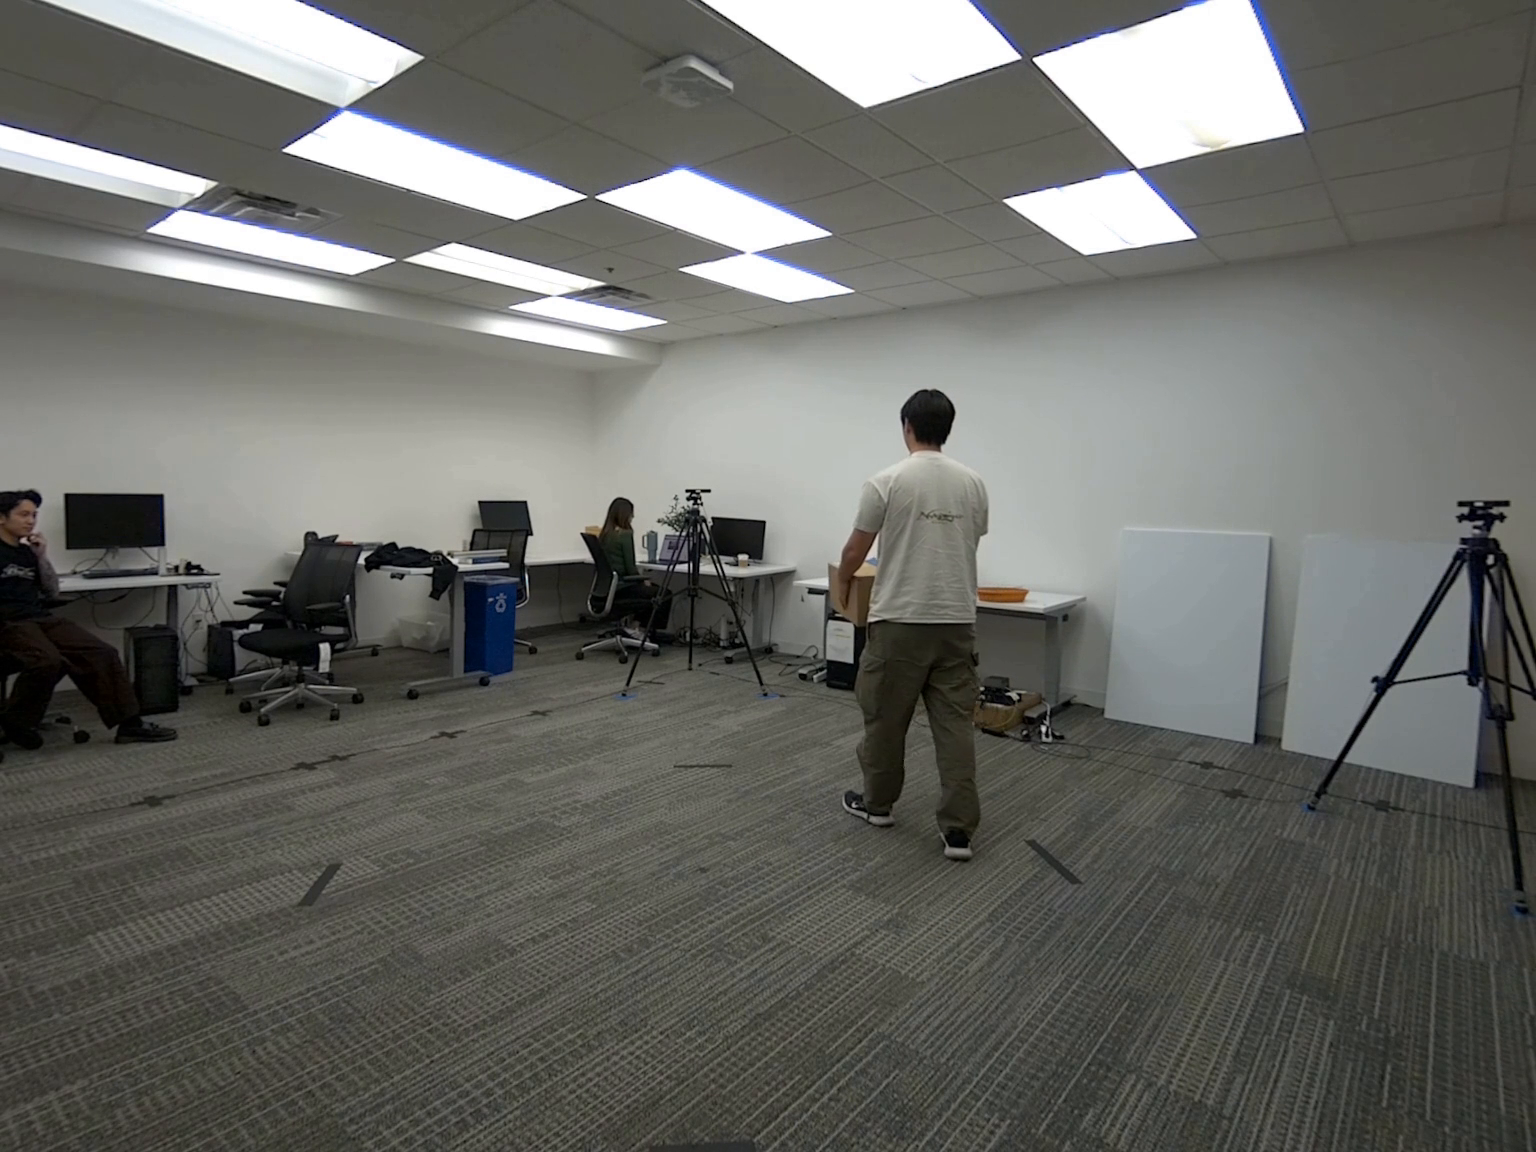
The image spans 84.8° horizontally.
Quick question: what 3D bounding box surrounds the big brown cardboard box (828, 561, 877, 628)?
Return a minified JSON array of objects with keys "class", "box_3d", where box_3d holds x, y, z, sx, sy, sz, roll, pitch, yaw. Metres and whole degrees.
[{"class":"big brown cardboard box","box_3d":[0.527,0.057,3.896,0.414,0.231,0.598,-2,8,-8]}]
